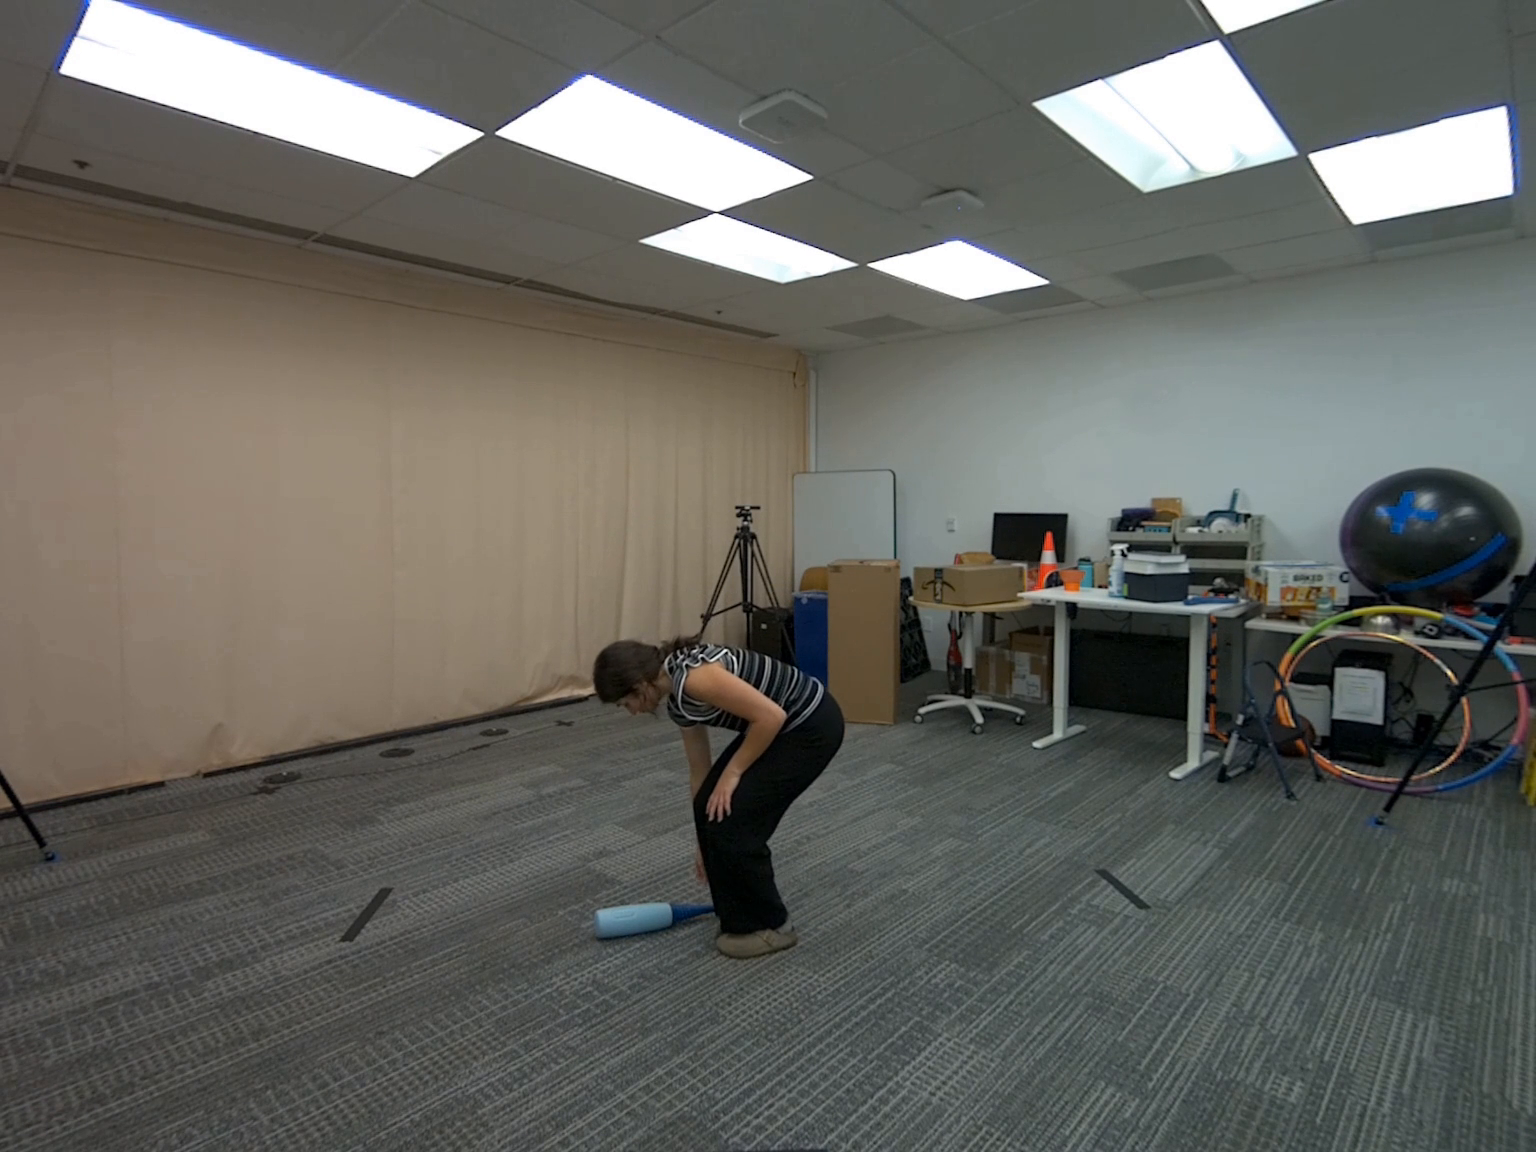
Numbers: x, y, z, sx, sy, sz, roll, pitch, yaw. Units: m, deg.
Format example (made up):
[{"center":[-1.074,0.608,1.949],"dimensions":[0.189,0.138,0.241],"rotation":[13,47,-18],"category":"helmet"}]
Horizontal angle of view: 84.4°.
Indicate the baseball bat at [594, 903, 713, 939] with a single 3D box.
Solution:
[{"center":[-0.309,1.127,2.798],"dimensions":[0.531,0.089,0.091],"rotation":[1,3,-22],"category":"baseball bat"}]
